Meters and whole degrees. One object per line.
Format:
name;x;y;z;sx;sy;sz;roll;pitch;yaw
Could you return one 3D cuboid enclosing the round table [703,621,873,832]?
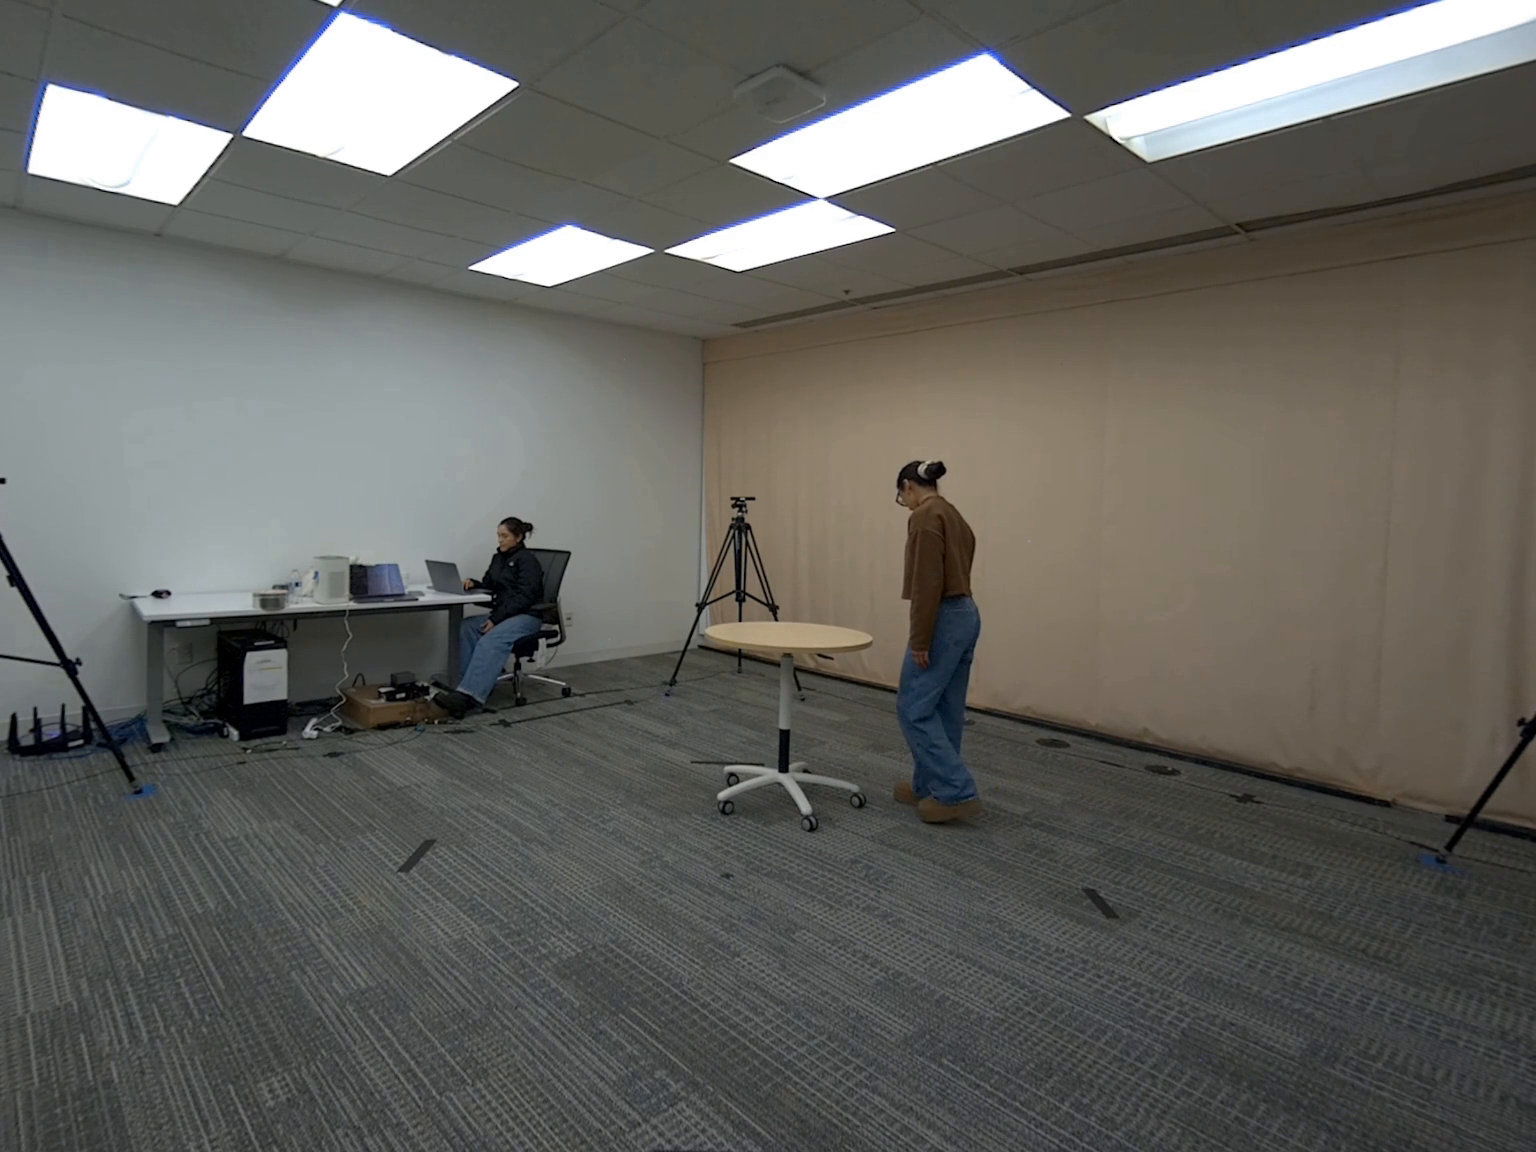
round table;0.073;0.655;3.871;0.763;0.792;0.766;2;3;-1
